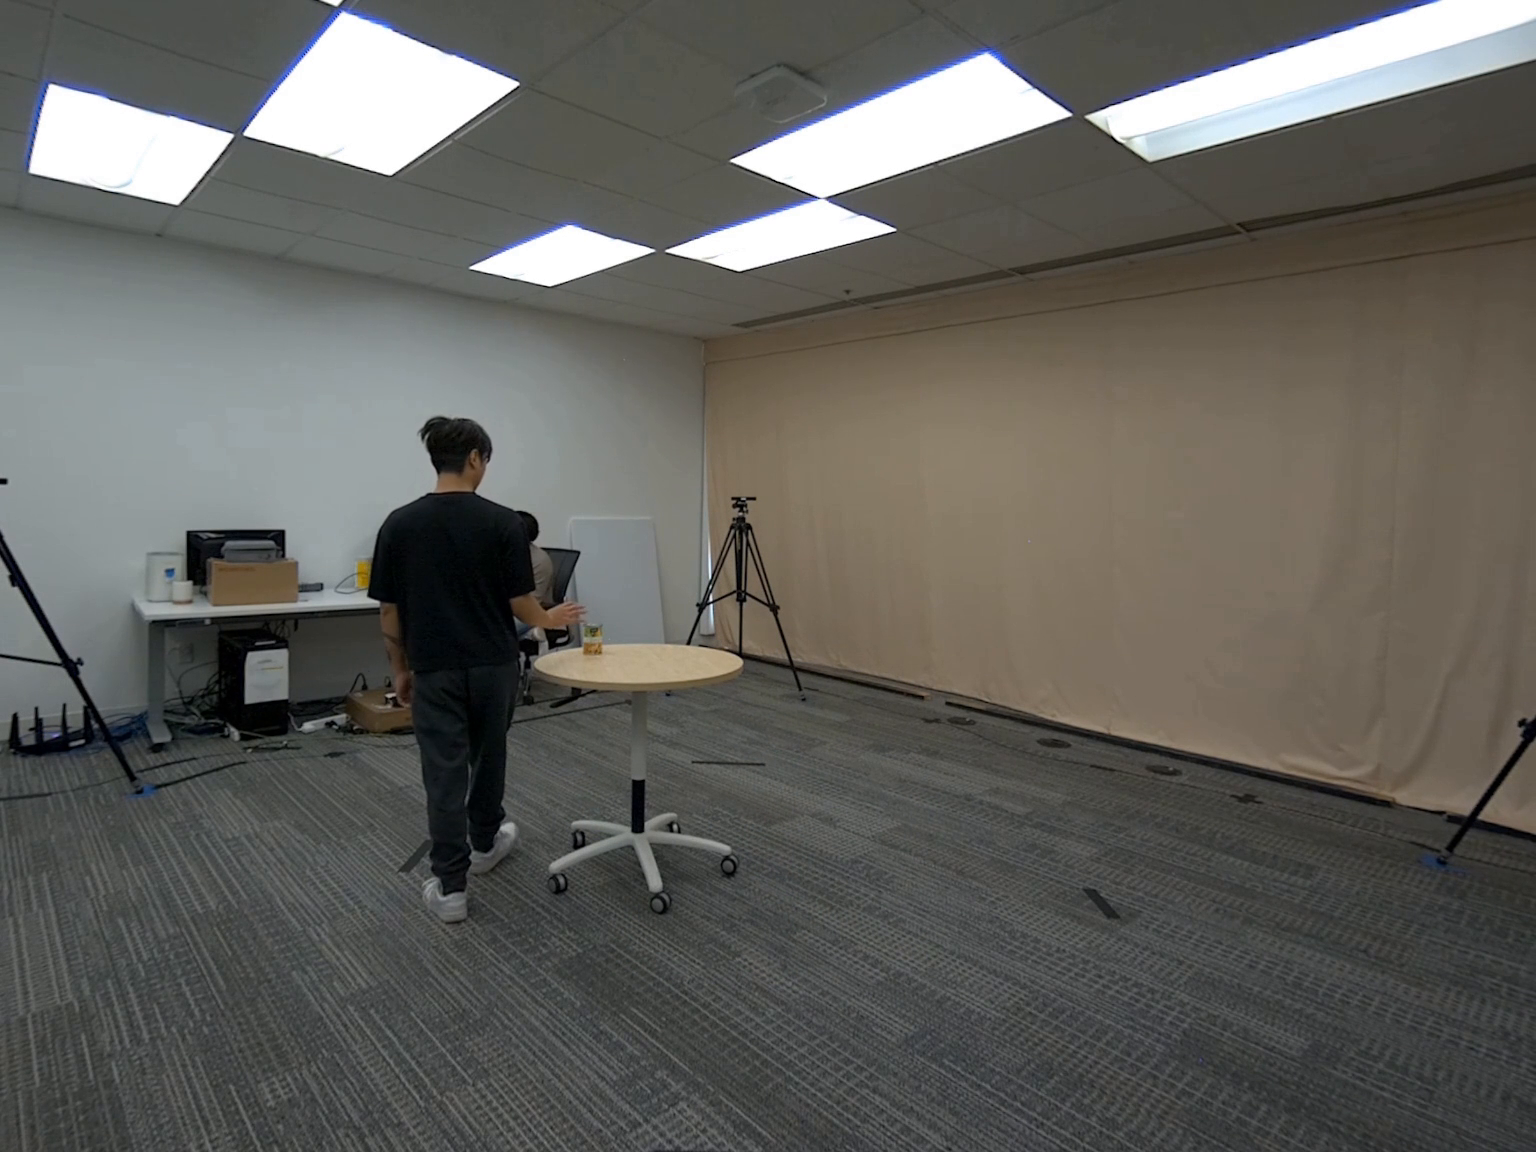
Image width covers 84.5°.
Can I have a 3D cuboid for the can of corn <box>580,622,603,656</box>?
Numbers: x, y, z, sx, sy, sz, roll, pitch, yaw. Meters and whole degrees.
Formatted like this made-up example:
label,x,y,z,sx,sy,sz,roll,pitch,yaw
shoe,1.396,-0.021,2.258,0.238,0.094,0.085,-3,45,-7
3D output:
label,x,y,z,sx,sy,sz,roll,pitch,yaw
can of corn,-0.692,0.246,3.261,0.074,0.111,0.074,1,5,-1
